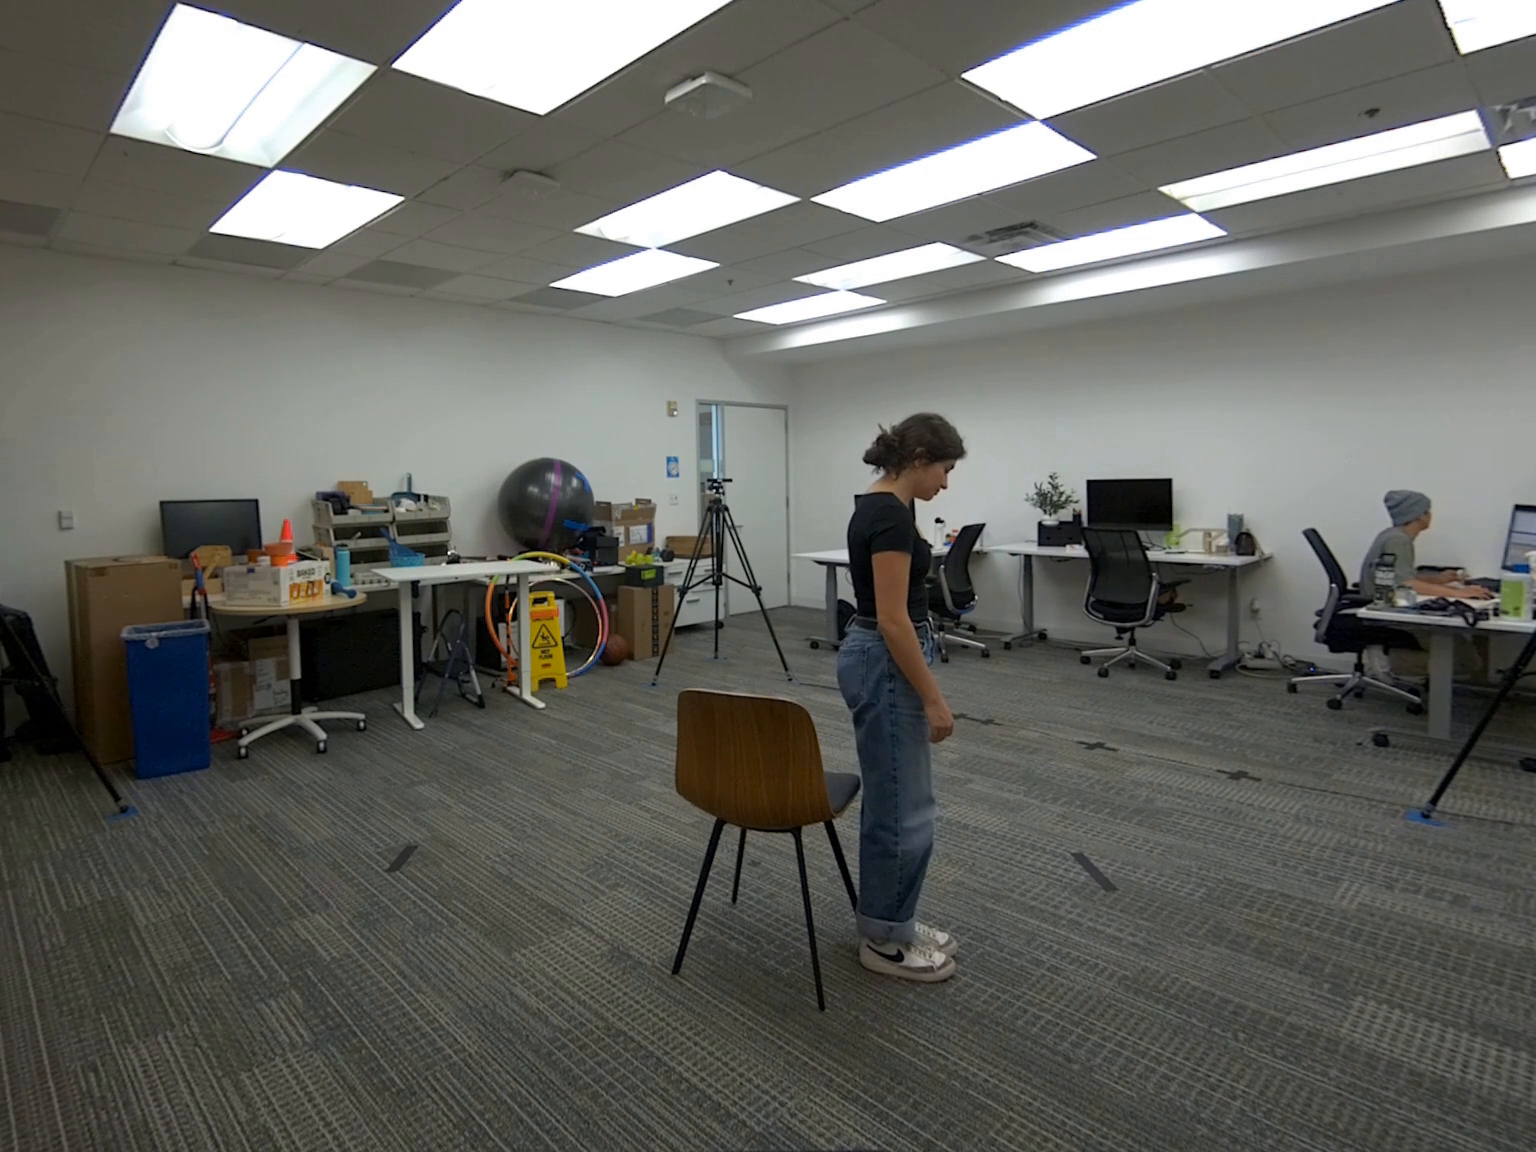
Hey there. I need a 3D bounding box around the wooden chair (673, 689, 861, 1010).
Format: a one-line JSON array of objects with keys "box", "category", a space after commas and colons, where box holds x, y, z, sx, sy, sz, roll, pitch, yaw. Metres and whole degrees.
[{"box": [0.014, 0.685, 2.510, 0.488, 0.870, 0.516, 1, 9, 22], "category": "wooden chair"}]
